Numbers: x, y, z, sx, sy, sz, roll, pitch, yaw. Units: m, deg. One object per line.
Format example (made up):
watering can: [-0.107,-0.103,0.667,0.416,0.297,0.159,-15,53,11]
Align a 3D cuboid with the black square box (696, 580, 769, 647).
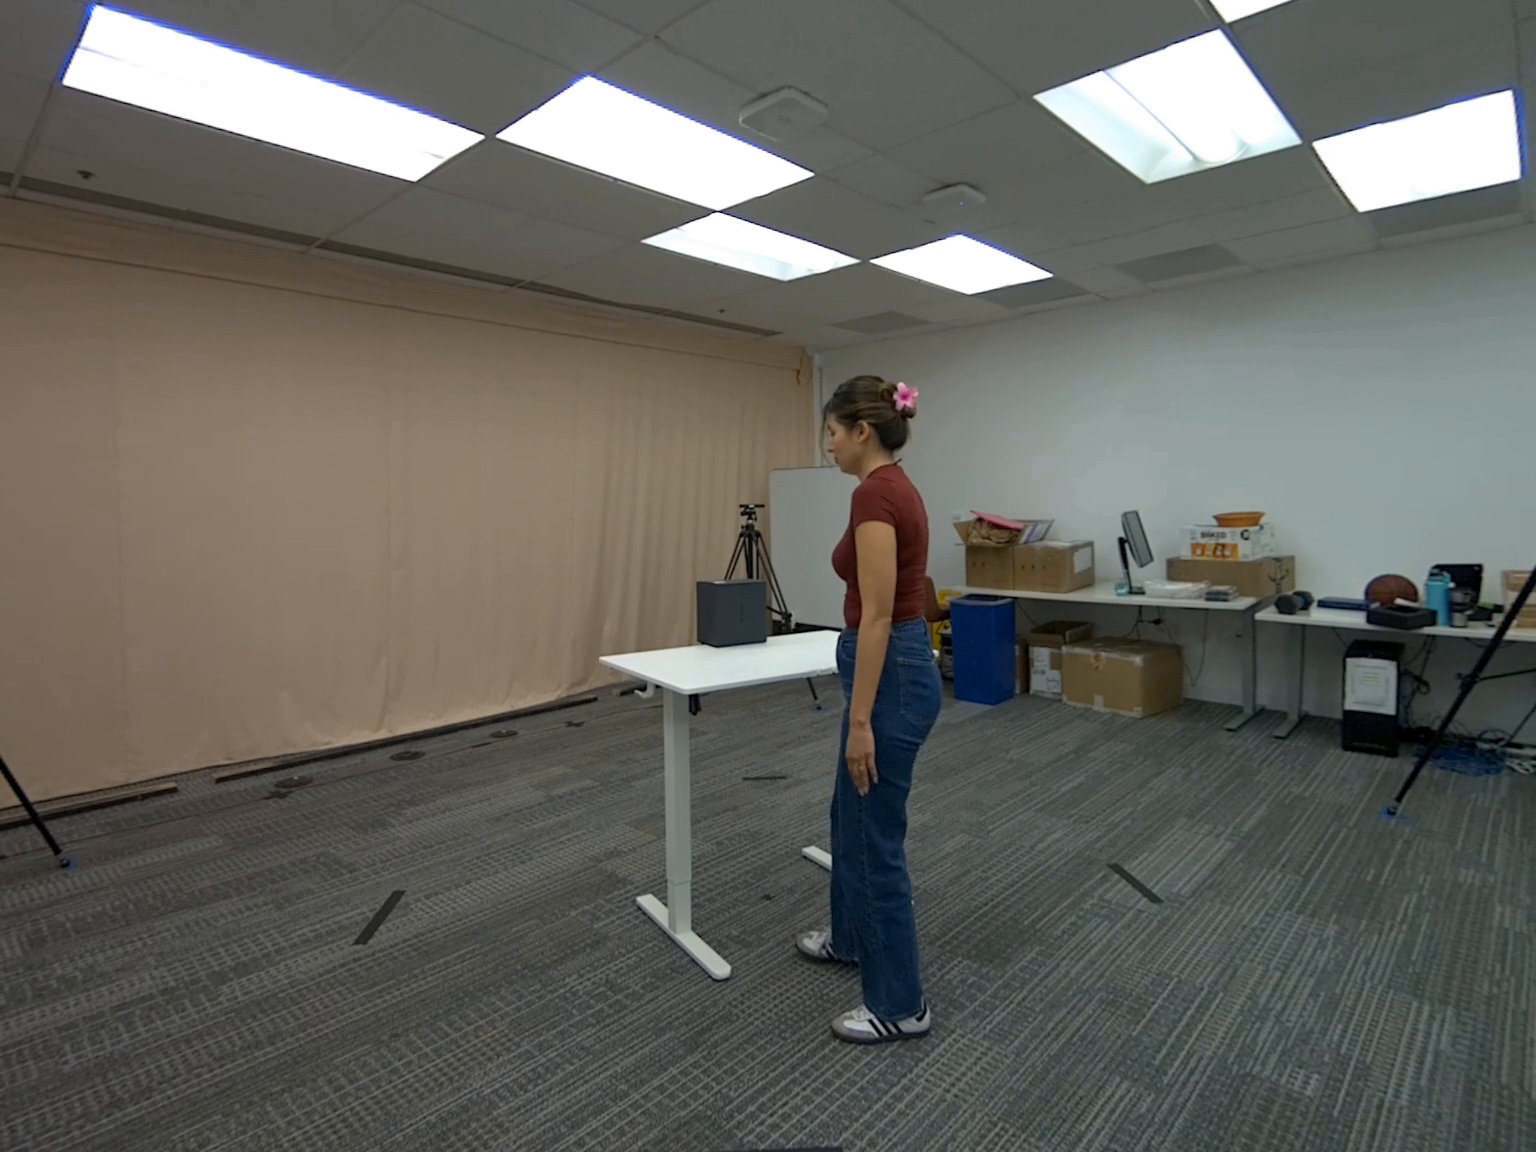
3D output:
black square box: [-0.130,0.132,3.111,0.211,0.227,0.160,-3,5,-32]
